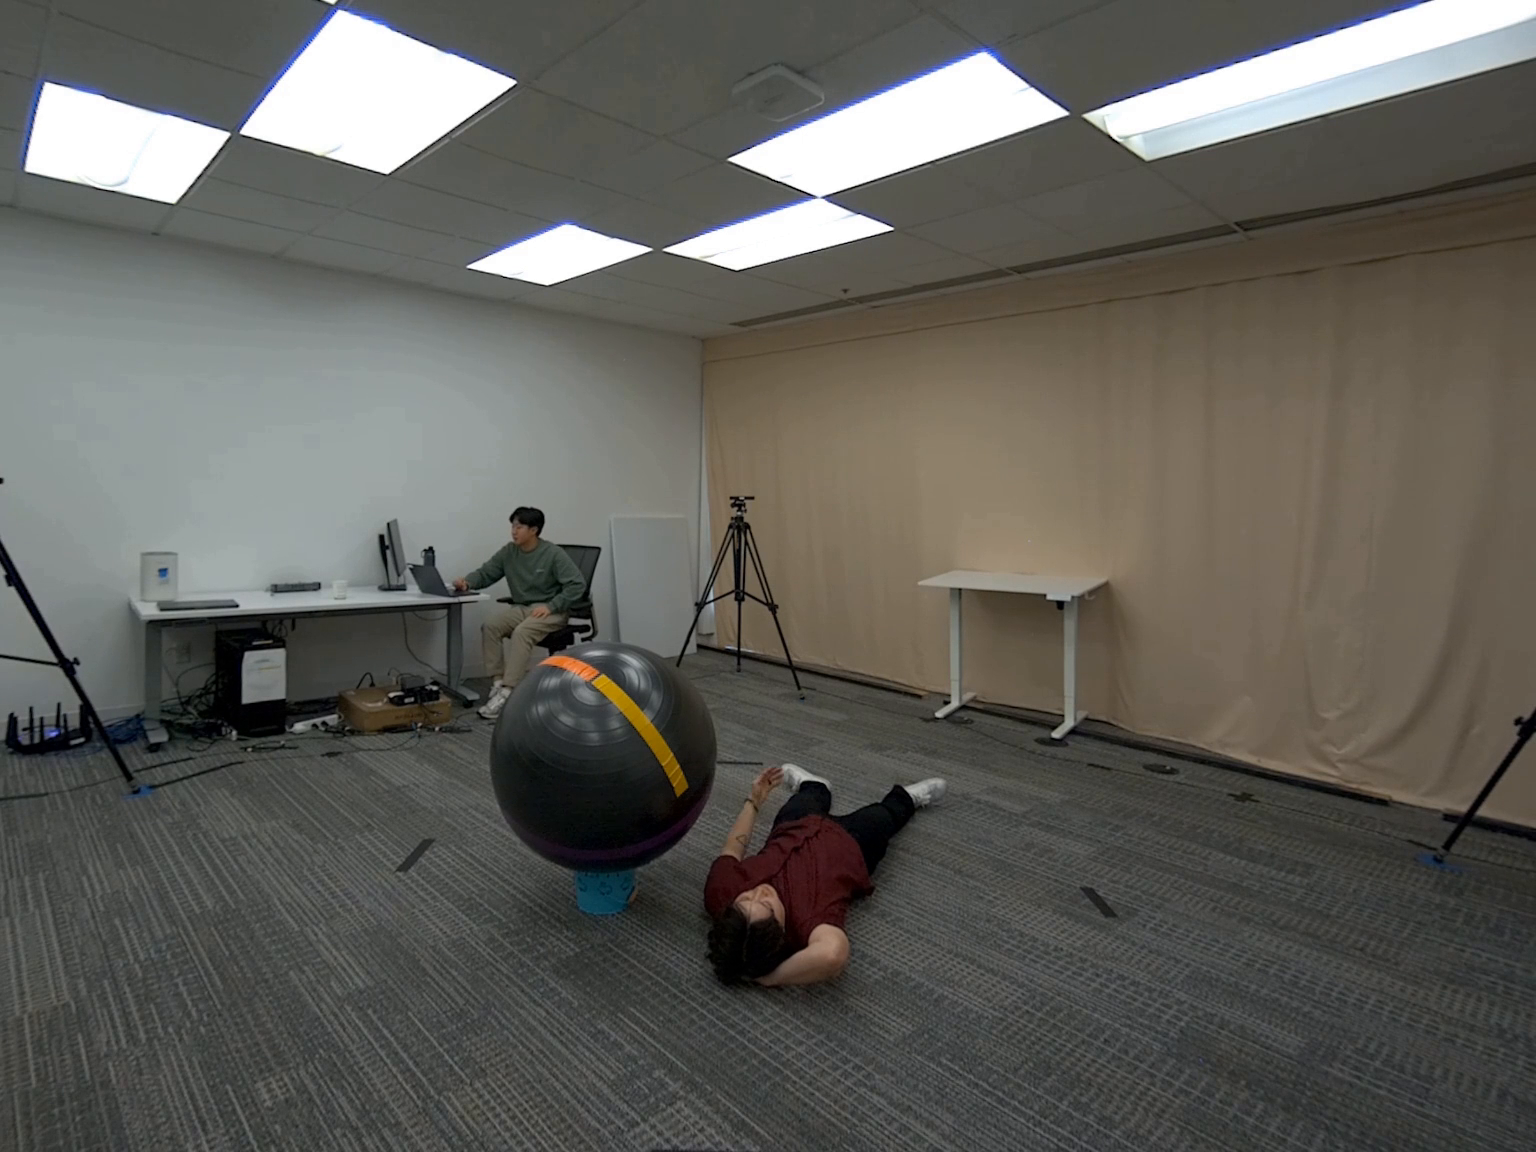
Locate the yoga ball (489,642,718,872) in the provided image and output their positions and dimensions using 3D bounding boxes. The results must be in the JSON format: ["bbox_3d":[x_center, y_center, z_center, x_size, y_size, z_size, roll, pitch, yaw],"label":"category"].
[{"bbox_3d":[-0.560,0.609,2.860,0.757,0.756,0.761,1,4,-1],"label":"yoga ball"}]
